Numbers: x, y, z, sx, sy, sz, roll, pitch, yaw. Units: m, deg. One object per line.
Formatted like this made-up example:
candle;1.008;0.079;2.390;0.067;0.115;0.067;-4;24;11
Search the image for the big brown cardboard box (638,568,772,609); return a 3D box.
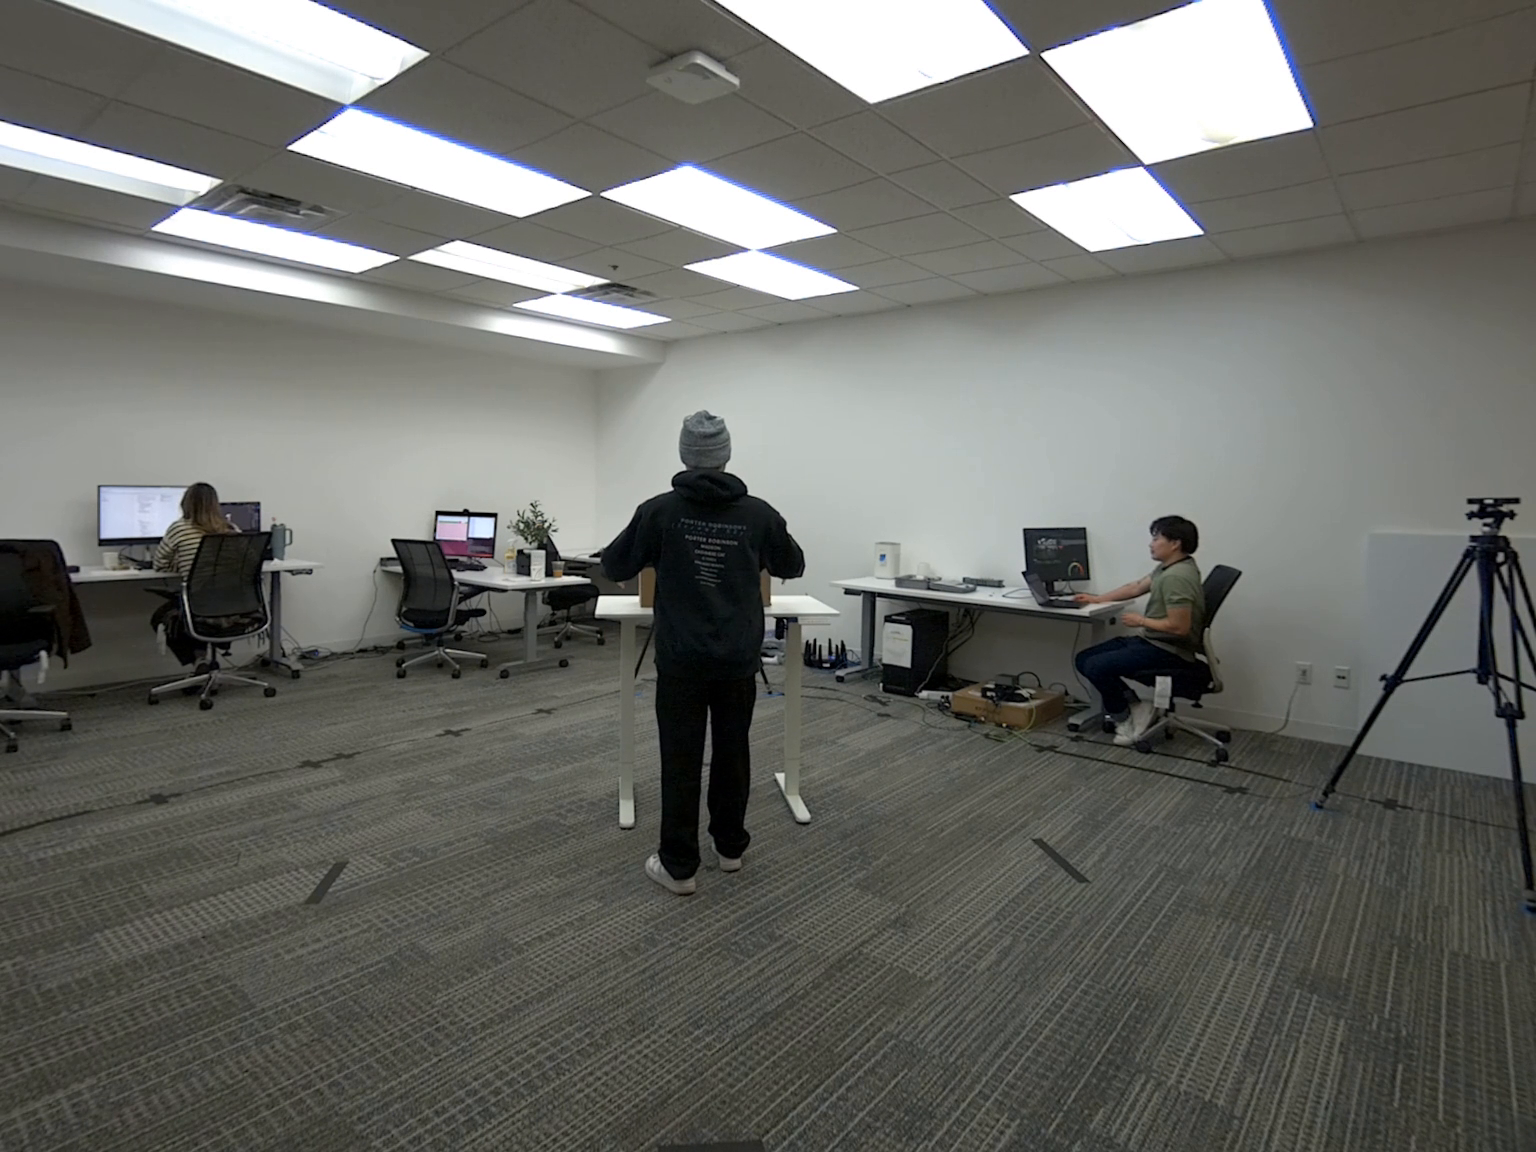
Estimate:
big brown cardboard box;-0.287;-0.088;3.727;0.584;0.416;0.236;0;3;-8
